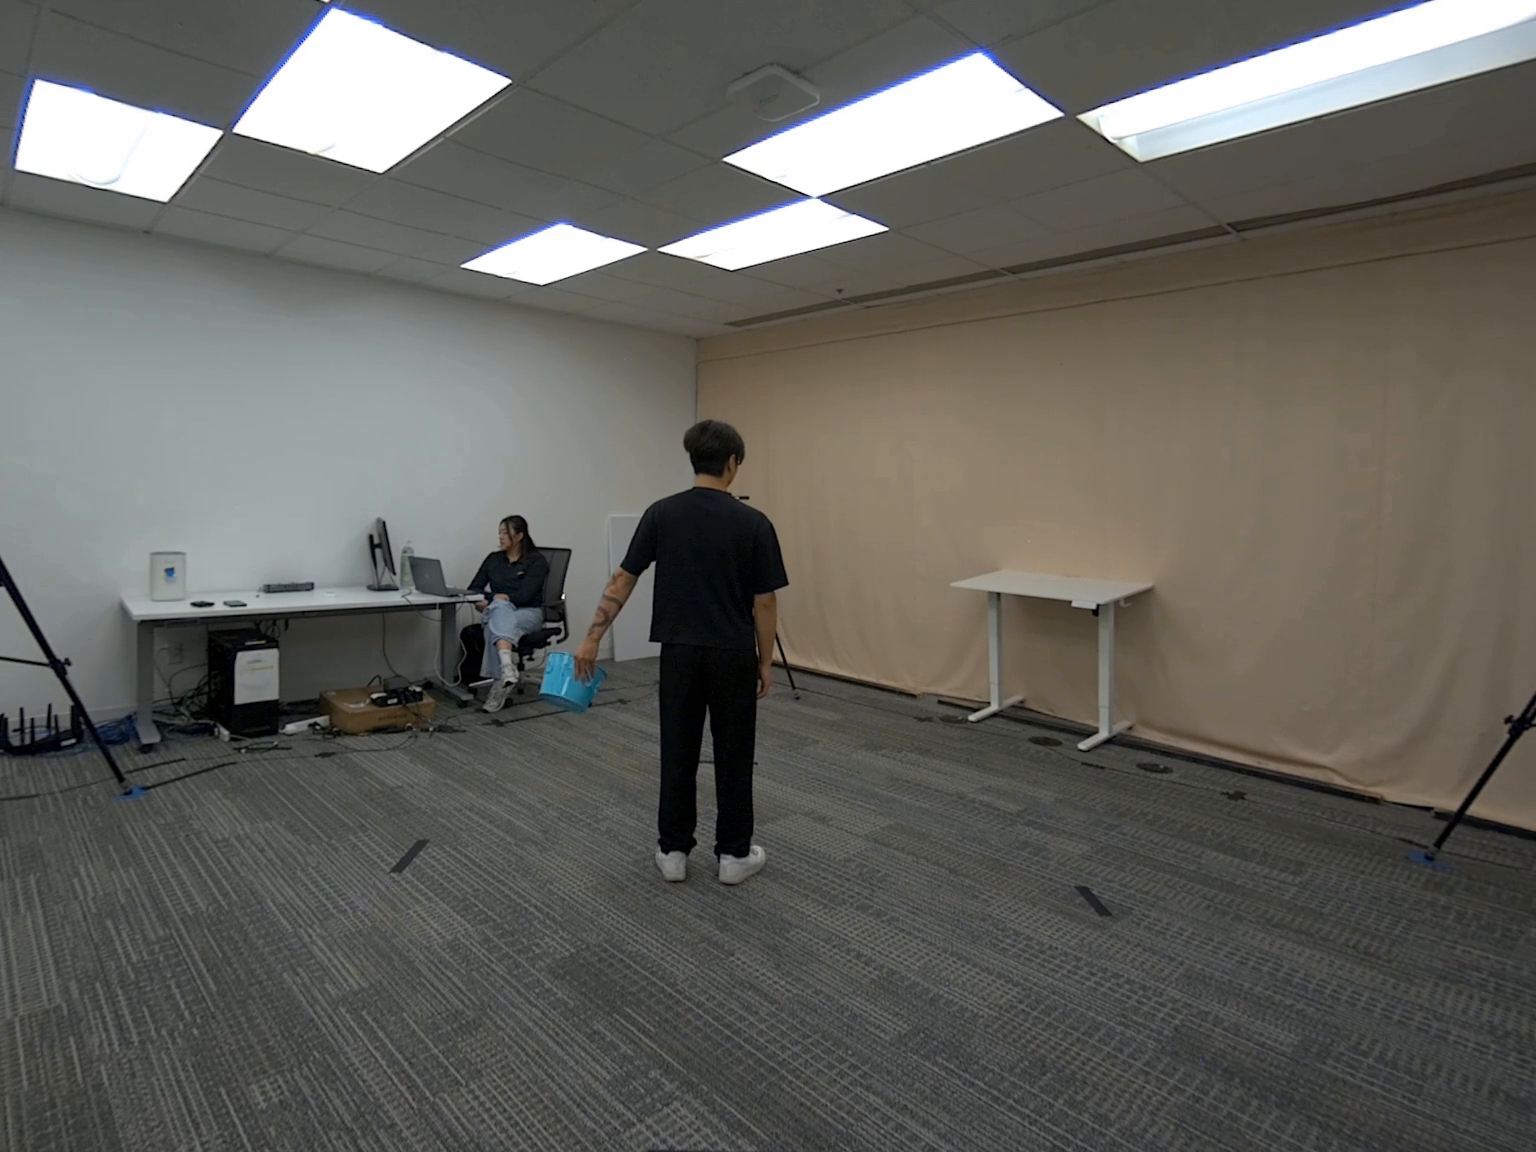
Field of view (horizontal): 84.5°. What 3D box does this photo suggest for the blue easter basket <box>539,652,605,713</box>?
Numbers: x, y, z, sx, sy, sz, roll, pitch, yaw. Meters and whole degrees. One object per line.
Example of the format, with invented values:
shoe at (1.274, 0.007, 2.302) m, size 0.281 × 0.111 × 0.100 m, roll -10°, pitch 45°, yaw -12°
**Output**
blue easter basket at (-0.717, 0.394, 3.097) m, size 0.245 × 0.157 × 0.239 m, roll 16°, pitch -25°, yaw 6°
